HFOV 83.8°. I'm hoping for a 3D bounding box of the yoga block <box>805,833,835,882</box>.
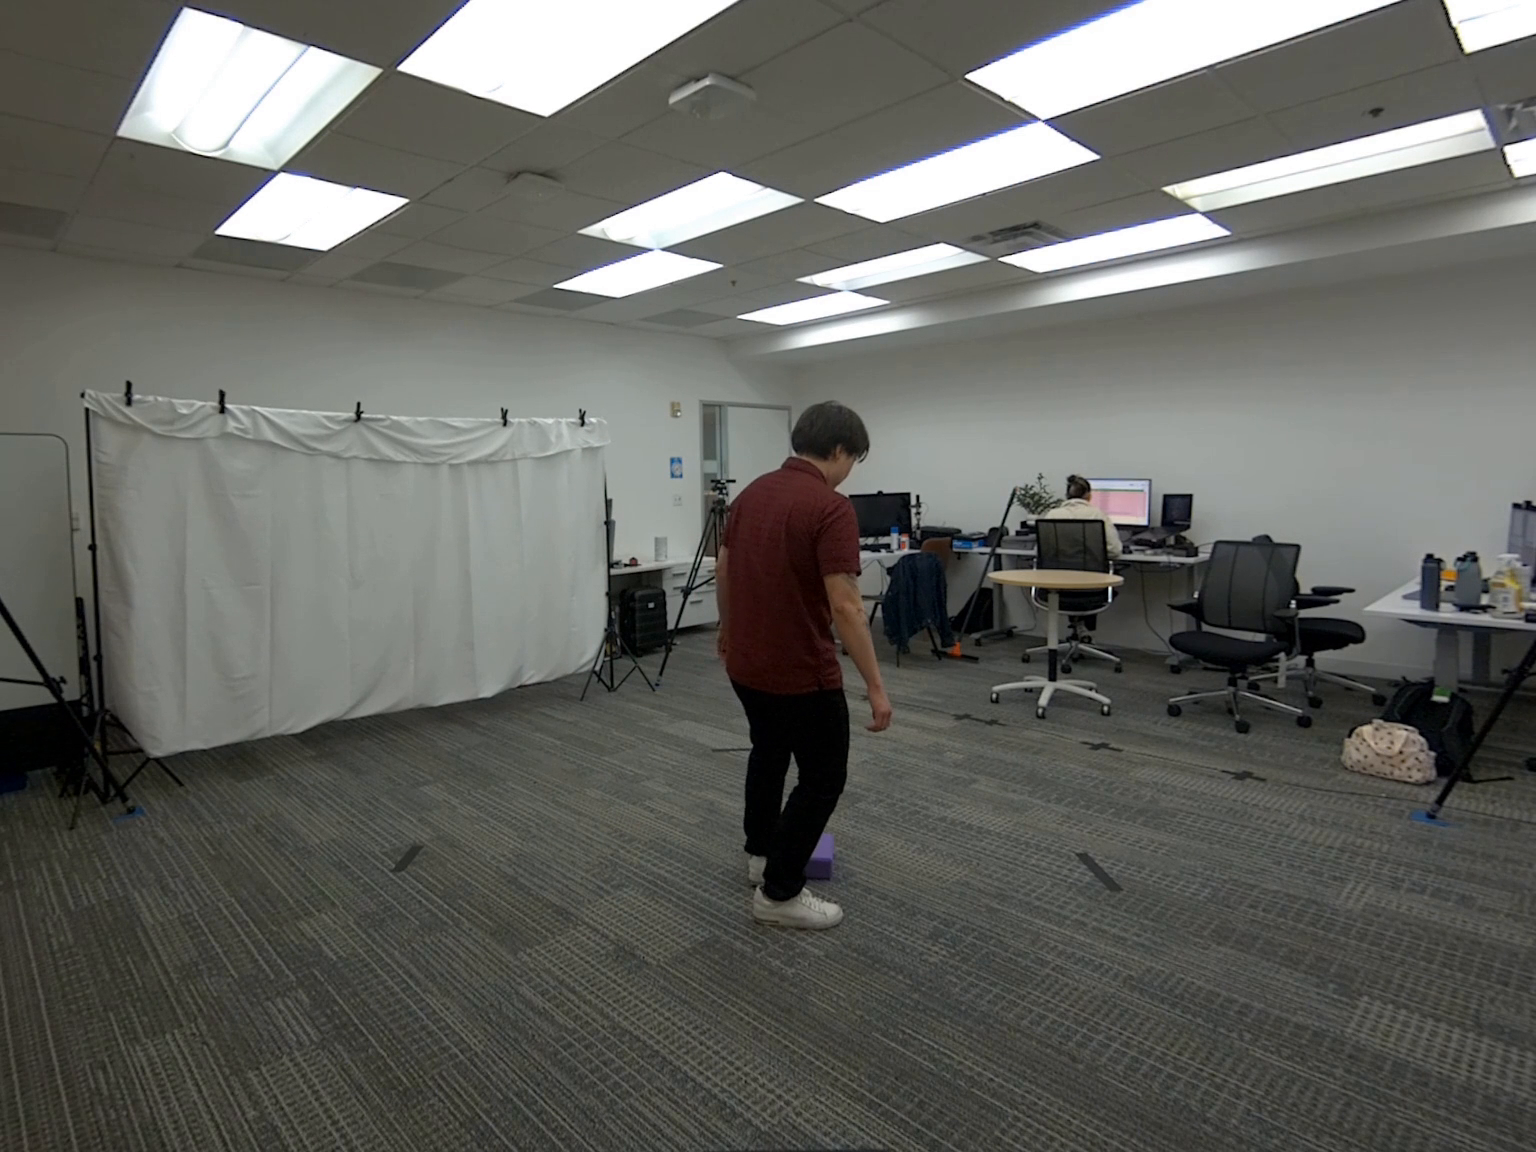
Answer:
[{"bbox_3d":[0.163,1.003,3.086,0.150,0.076,0.228,0,5,7],"label":"yoga block"}]
